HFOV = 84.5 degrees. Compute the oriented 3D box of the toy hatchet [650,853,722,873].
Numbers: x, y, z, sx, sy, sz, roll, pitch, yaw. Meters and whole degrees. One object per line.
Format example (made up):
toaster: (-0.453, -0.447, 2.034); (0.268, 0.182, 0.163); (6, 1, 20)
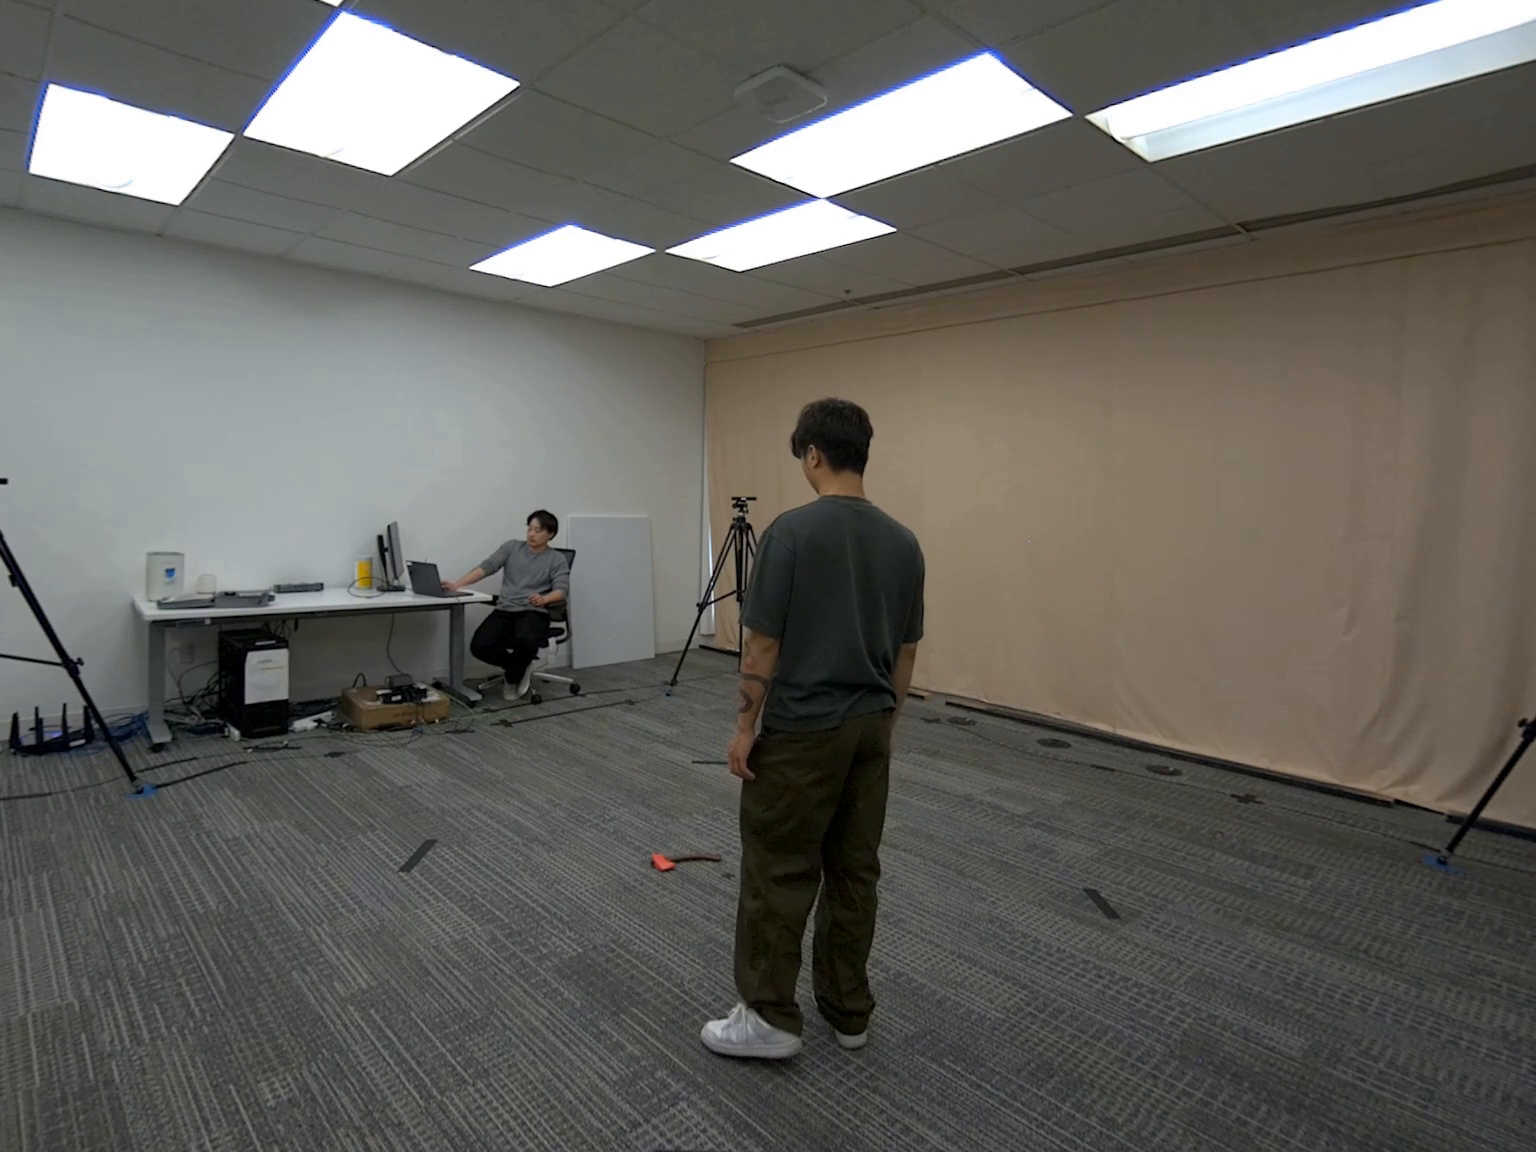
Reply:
toy hatchet: (-0.317, 1.084, 3.183); (0.269, 0.029, 0.132); (2, 5, -4)
